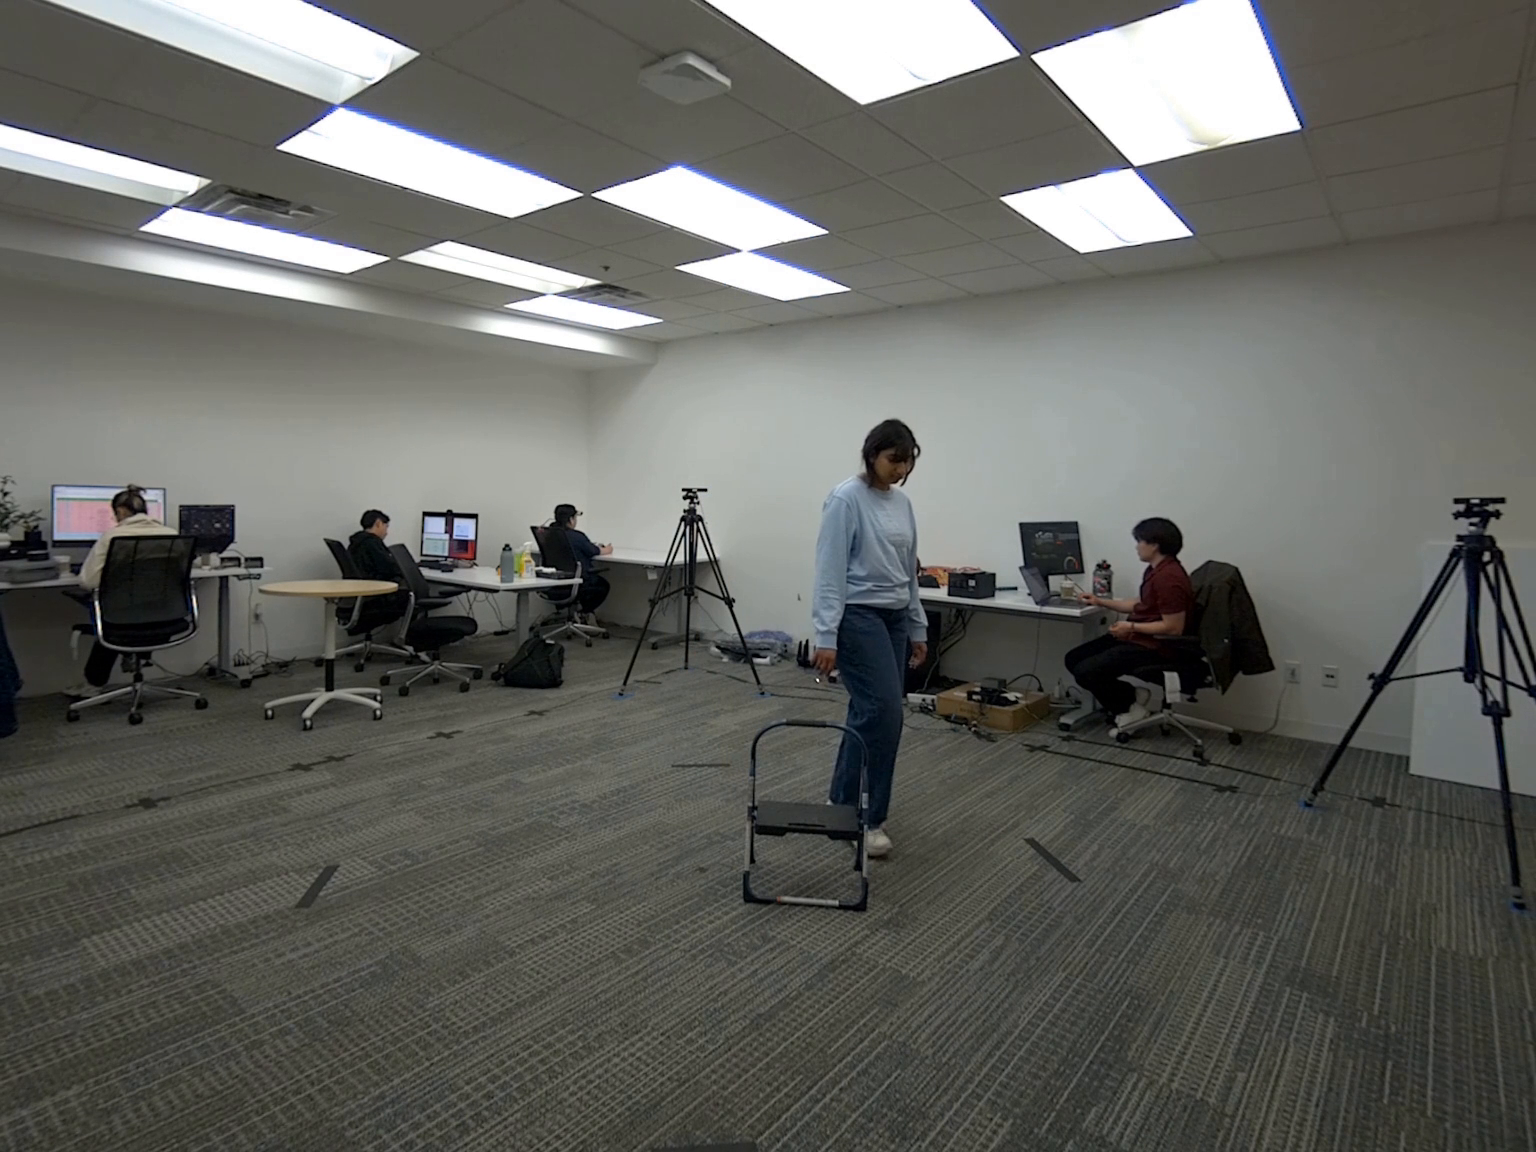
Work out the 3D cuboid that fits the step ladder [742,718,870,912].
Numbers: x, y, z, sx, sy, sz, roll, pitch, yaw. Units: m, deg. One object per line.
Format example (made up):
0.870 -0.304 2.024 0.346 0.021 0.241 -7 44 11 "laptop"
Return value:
0.129 0.786 2.991 0.433 0.604 0.348 2 3 4 "step ladder"
